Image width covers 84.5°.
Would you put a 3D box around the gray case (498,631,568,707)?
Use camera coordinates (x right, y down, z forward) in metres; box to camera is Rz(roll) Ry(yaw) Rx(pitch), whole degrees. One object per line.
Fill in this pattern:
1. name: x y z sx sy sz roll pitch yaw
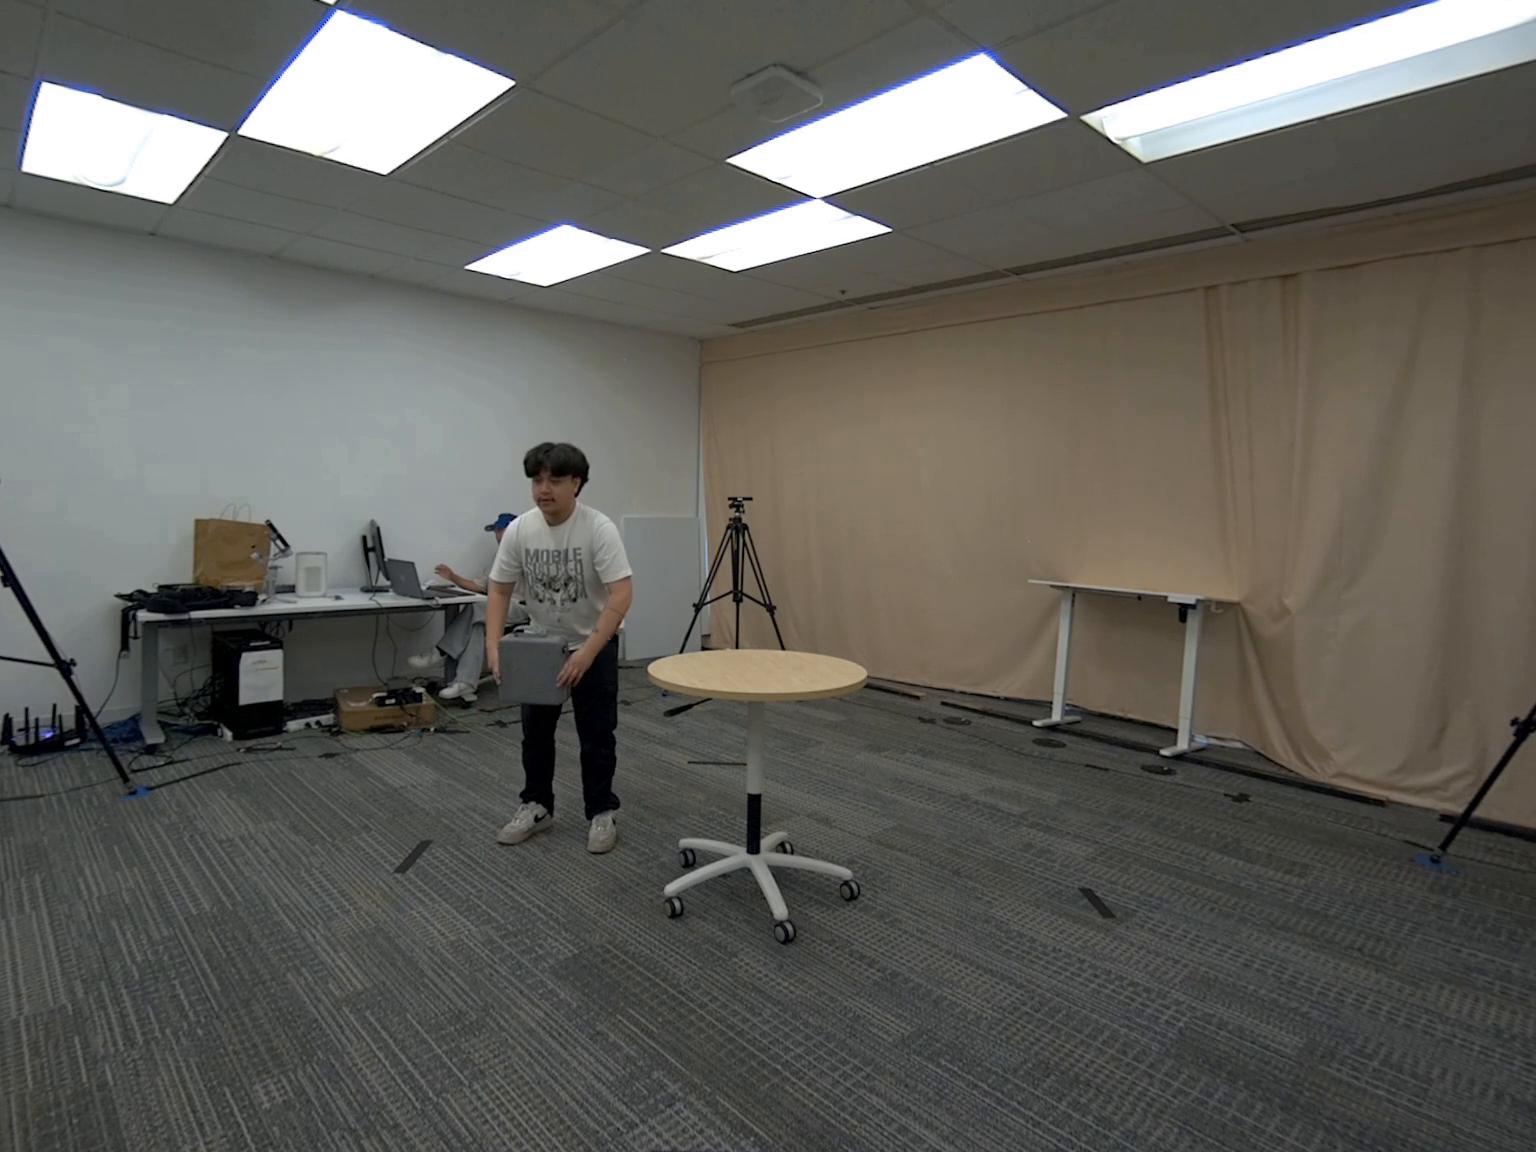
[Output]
1. gray case: -0.884 0.337 3.110 0.259 0.259 0.104 0 9 10
